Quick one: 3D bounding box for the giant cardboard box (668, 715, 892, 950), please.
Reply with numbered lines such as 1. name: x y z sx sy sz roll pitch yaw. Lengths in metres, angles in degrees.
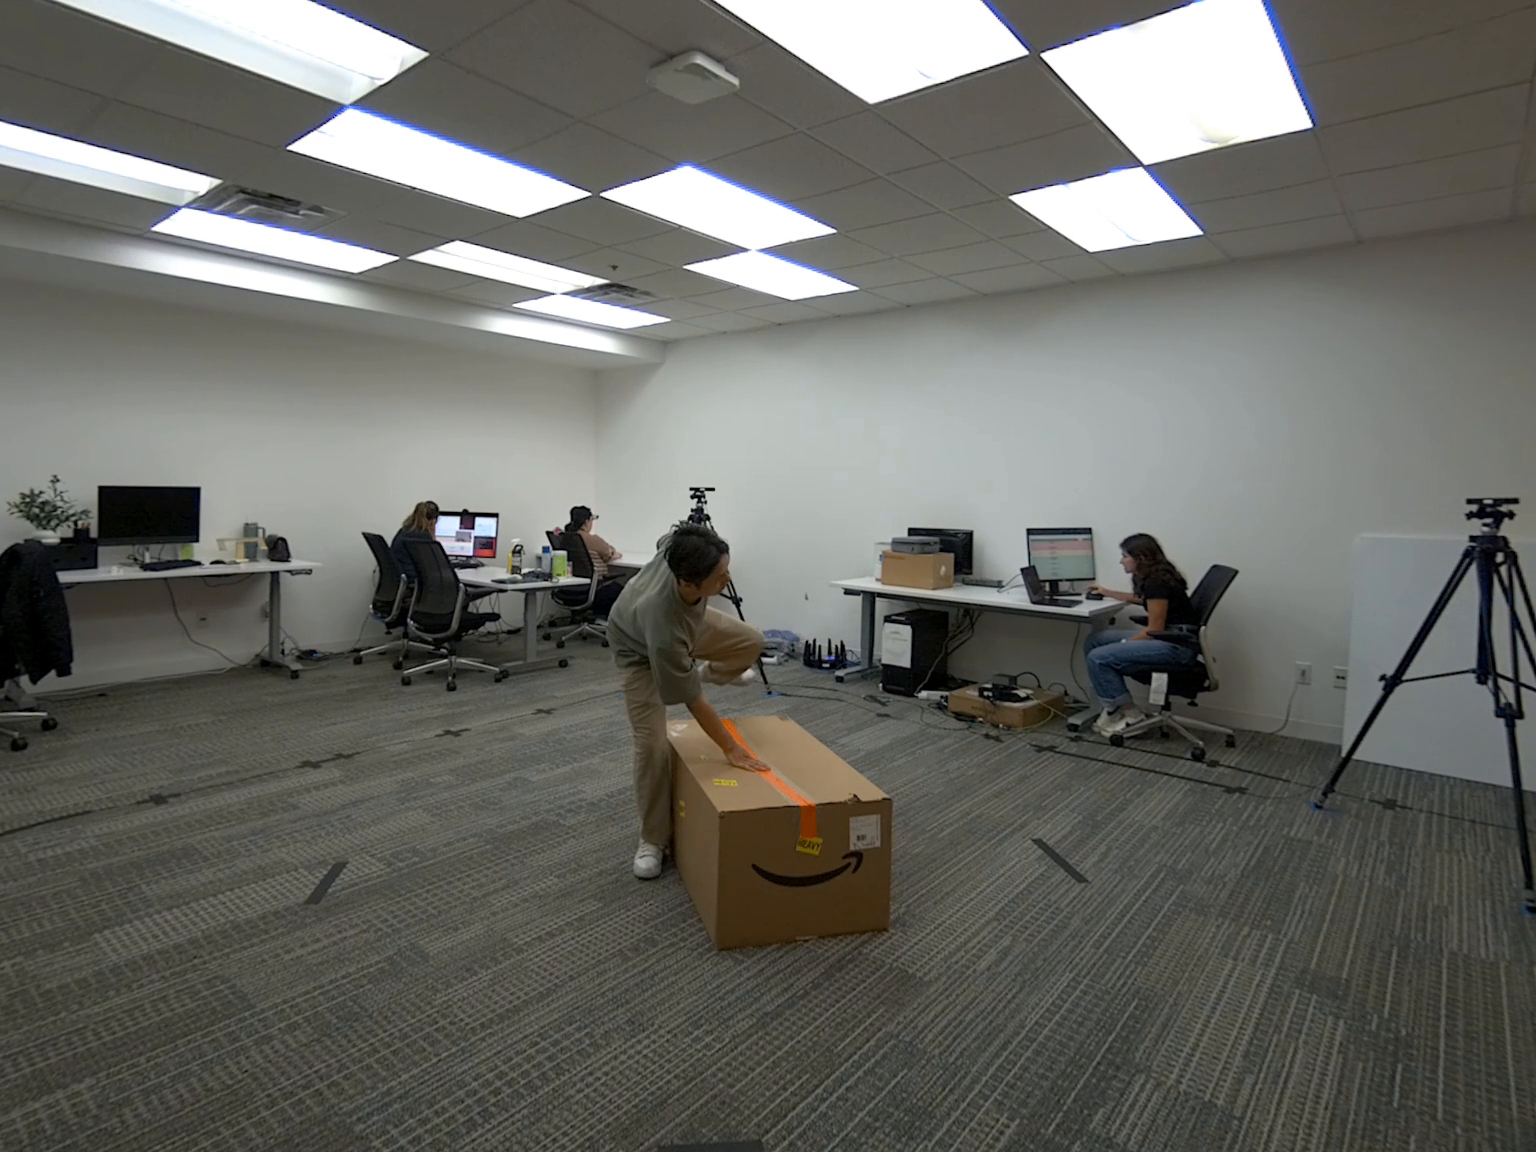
1. giant cardboard box: -0.042 0.856 3.101 0.568 0.424 1.047 -1 6 -17
